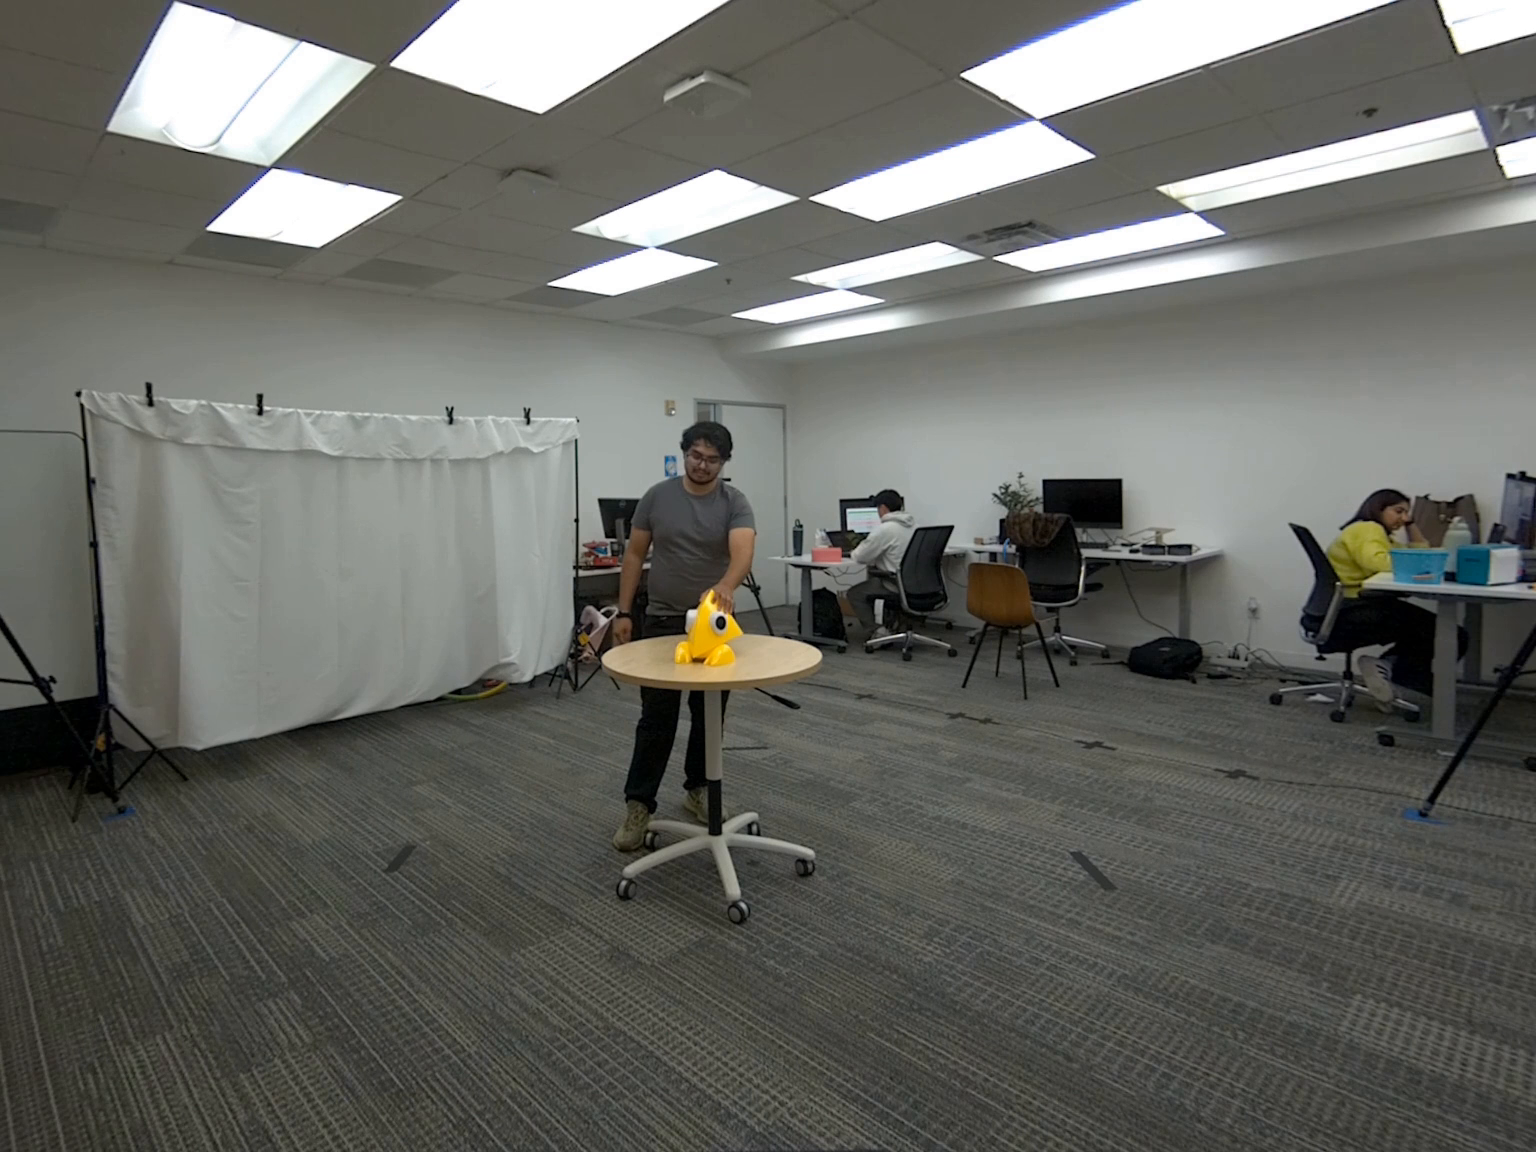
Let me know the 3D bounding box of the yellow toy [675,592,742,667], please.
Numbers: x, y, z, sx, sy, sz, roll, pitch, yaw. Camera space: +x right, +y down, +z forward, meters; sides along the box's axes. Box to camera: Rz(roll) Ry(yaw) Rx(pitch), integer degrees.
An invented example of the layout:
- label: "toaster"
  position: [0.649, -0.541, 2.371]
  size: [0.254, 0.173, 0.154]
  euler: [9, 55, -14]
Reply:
- label: "yellow toy"
  position: [-0.215, 0.173, 2.913]
  size: [0.209, 0.230, 0.190]
  euler: [1, 5, 22]
